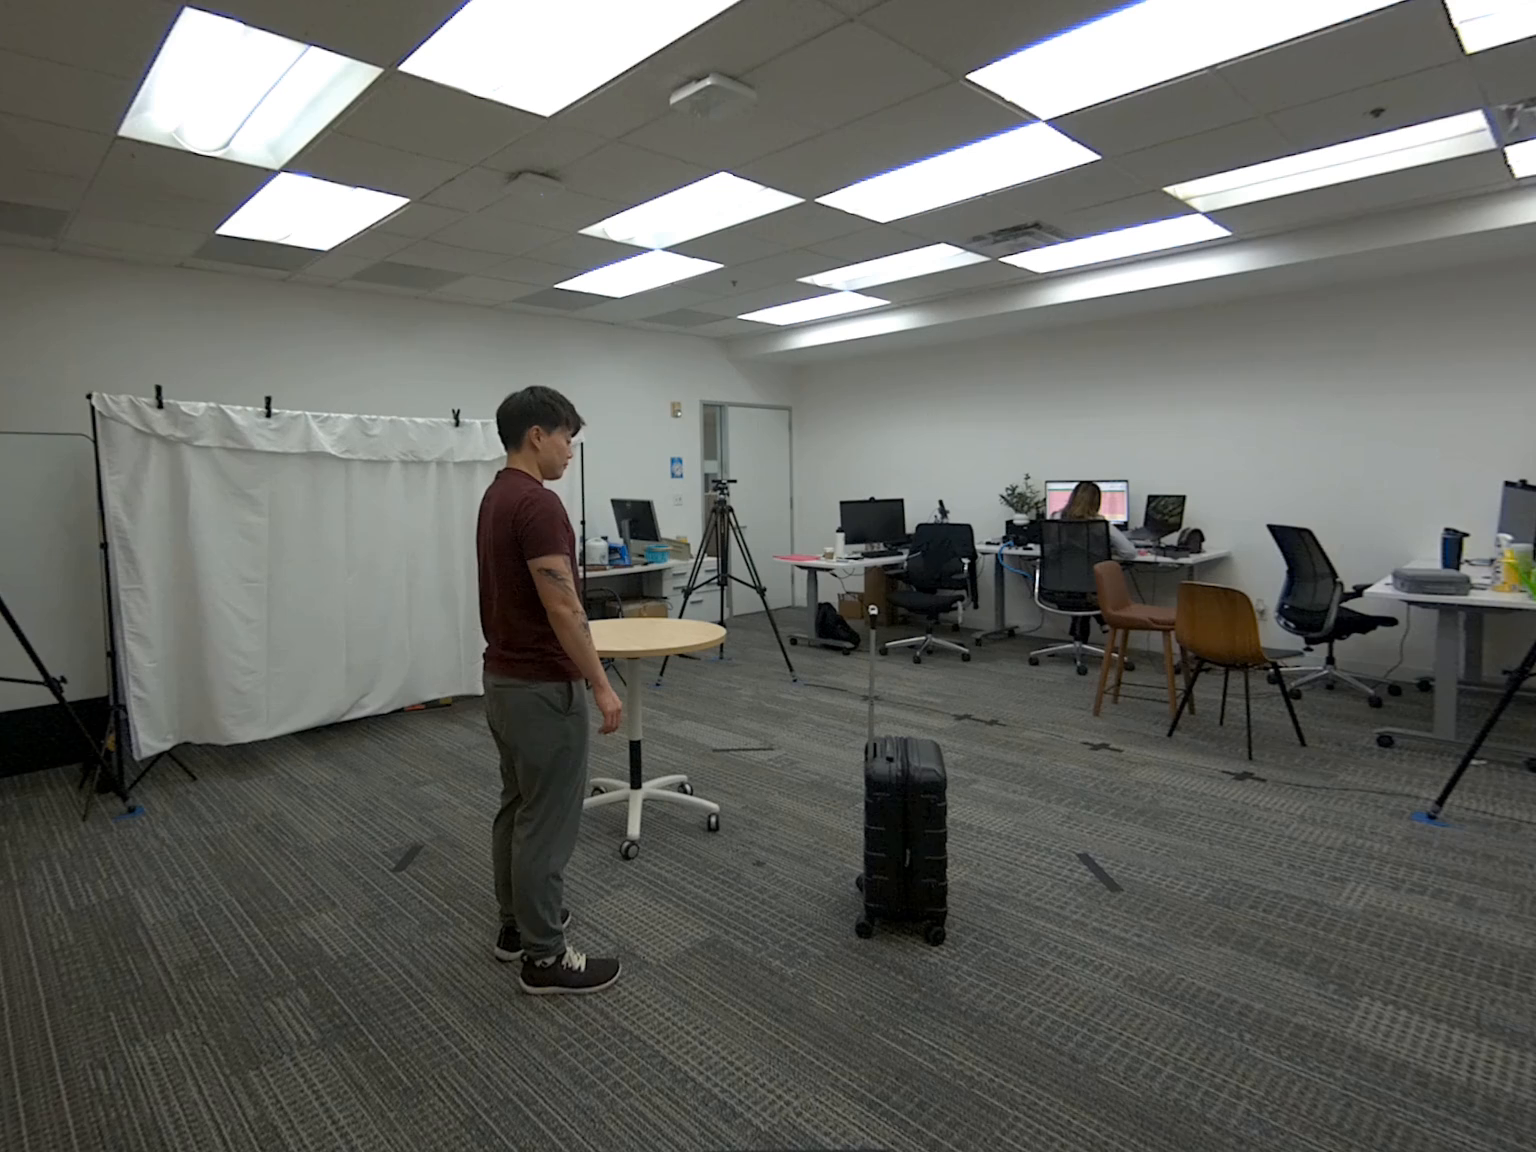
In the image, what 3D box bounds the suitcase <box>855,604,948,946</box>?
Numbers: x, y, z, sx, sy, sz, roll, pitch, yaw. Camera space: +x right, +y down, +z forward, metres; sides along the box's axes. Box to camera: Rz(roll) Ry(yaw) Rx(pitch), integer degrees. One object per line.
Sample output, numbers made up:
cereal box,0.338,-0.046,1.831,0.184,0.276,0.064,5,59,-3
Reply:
suitcase,0.440,0.604,2.701,0.259,0.975,0.383,1,4,6
